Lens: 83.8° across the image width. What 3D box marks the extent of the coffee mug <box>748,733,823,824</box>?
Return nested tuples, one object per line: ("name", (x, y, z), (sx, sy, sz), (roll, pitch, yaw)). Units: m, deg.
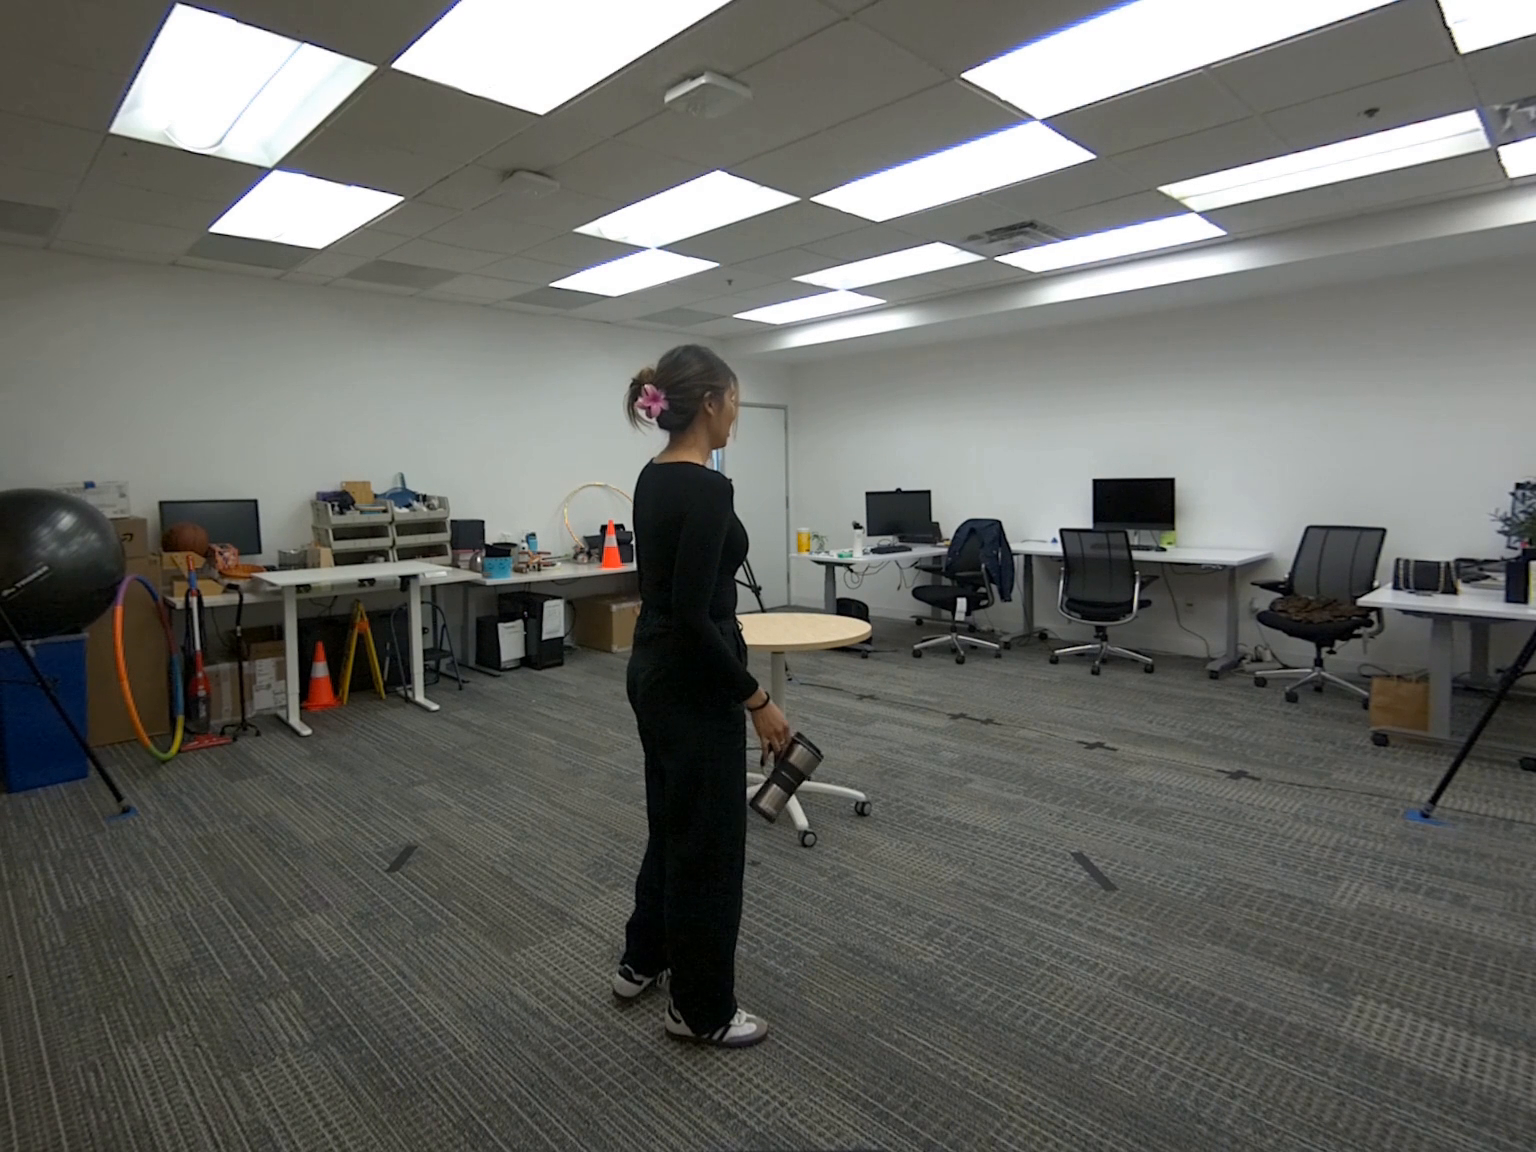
("coffee mug", (0.023, 0.457, 1.982), (0.119, 0.203, 0.090), (42, -2, -16))
